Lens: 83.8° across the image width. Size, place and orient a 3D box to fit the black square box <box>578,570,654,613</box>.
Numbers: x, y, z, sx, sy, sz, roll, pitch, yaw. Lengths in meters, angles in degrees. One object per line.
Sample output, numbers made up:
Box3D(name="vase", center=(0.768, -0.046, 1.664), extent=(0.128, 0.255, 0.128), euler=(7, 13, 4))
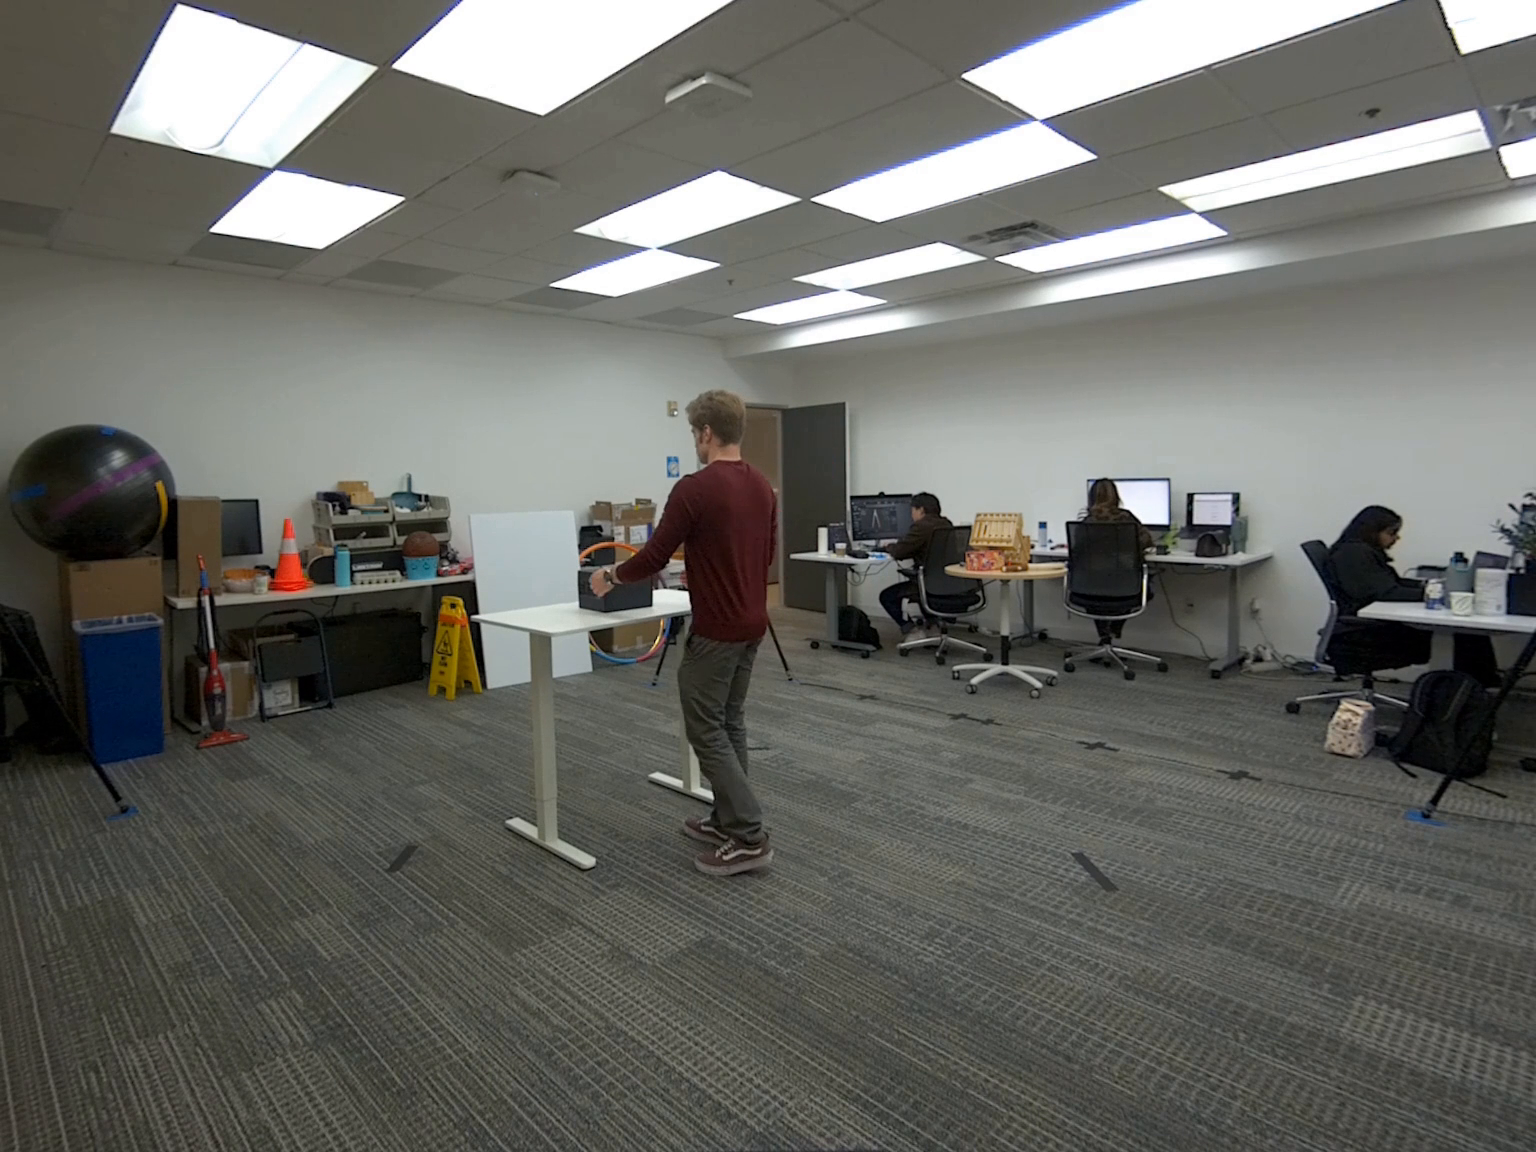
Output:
Box3D(name="black square box", center=(-0.625, 0.049, 3.502), extent=(0.222, 0.155, 0.223), euler=(-6, 7, -39))
